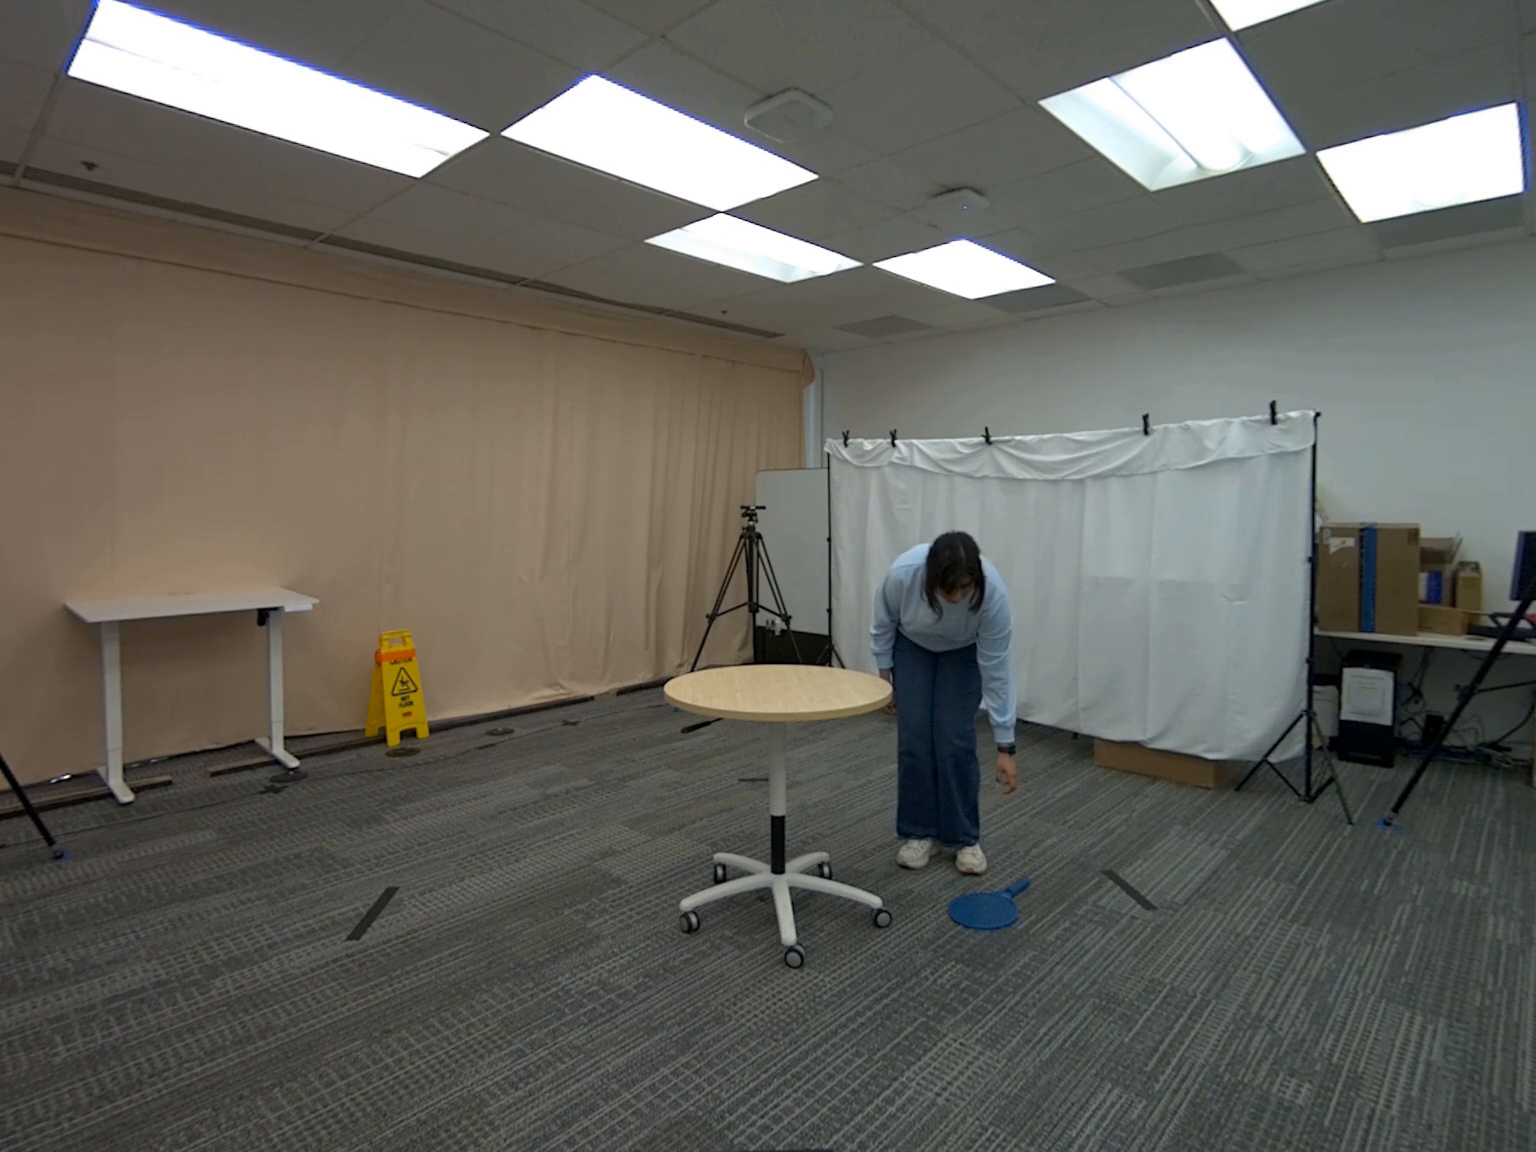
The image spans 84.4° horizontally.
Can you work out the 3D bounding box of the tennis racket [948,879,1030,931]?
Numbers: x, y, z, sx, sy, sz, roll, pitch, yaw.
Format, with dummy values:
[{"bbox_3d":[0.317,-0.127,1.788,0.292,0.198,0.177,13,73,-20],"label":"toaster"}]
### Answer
[{"bbox_3d":[0.782,1.126,2.933,0.221,0.031,0.420,6,9,44],"label":"tennis racket"}]
